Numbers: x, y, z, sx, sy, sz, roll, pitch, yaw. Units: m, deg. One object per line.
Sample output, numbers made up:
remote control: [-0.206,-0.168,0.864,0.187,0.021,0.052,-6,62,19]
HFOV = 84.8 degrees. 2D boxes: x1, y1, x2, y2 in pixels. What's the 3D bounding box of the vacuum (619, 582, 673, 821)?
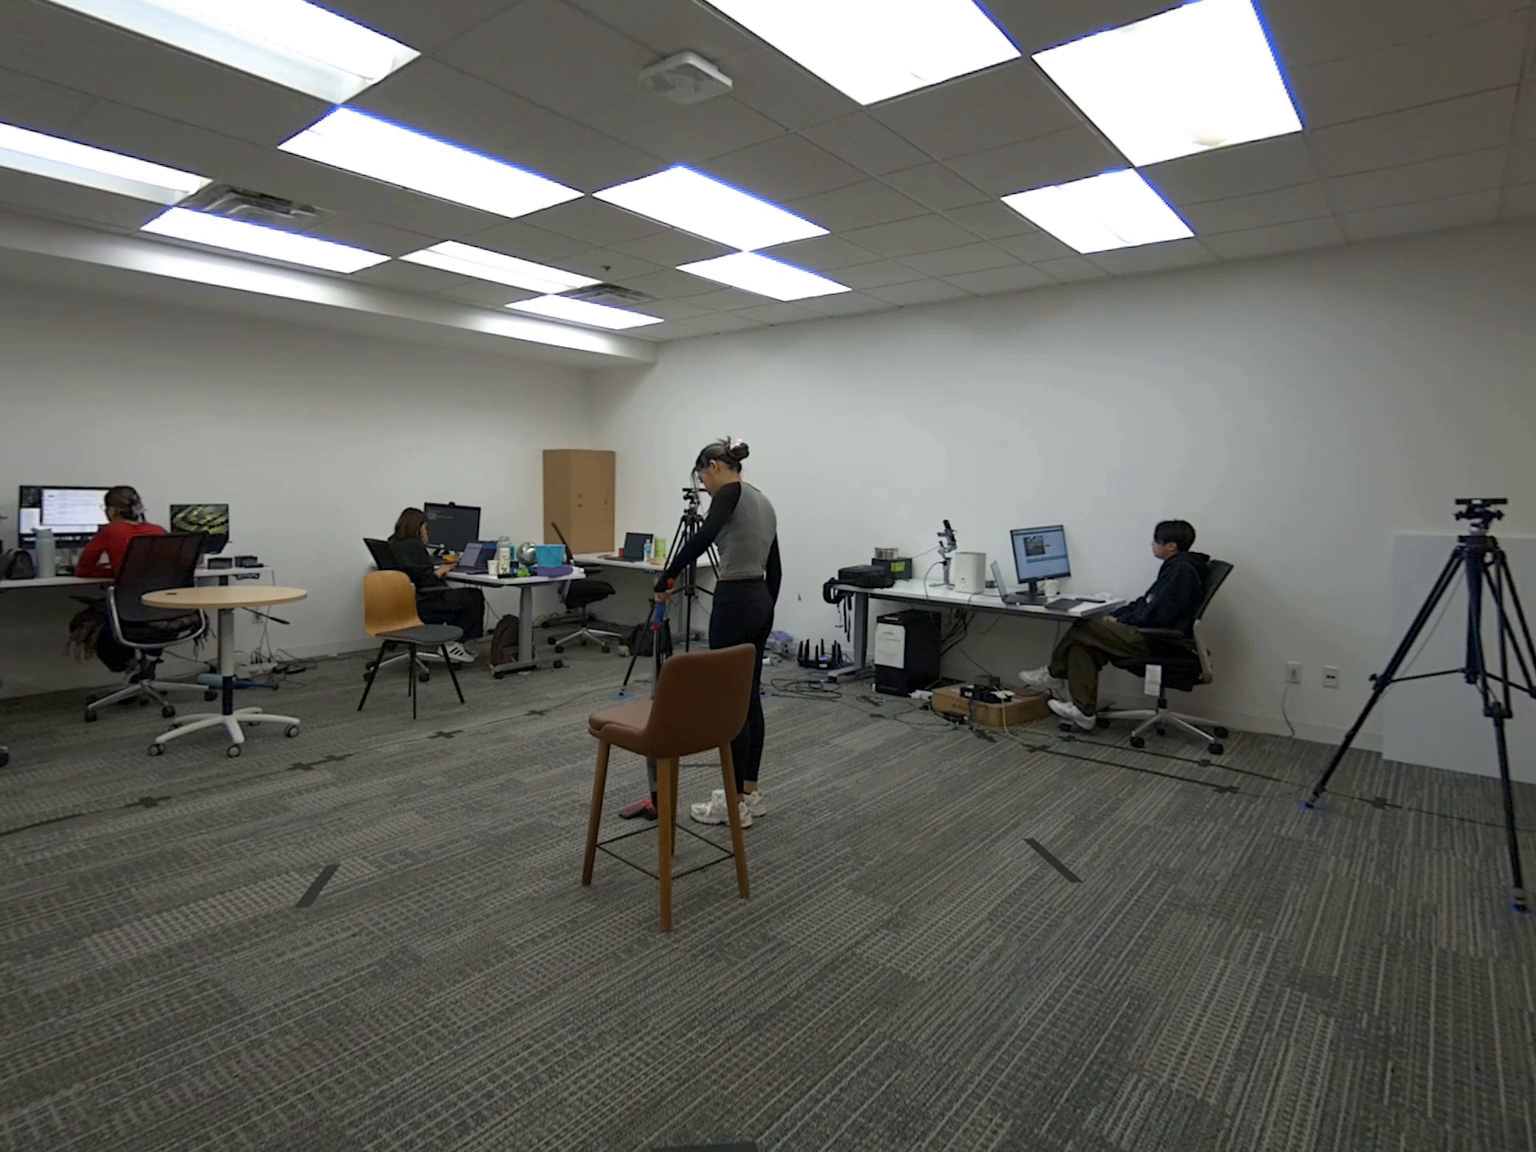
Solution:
vacuum: [-0.458,0.524,3.508,0.149,1.036,0.246,16,18,33]
